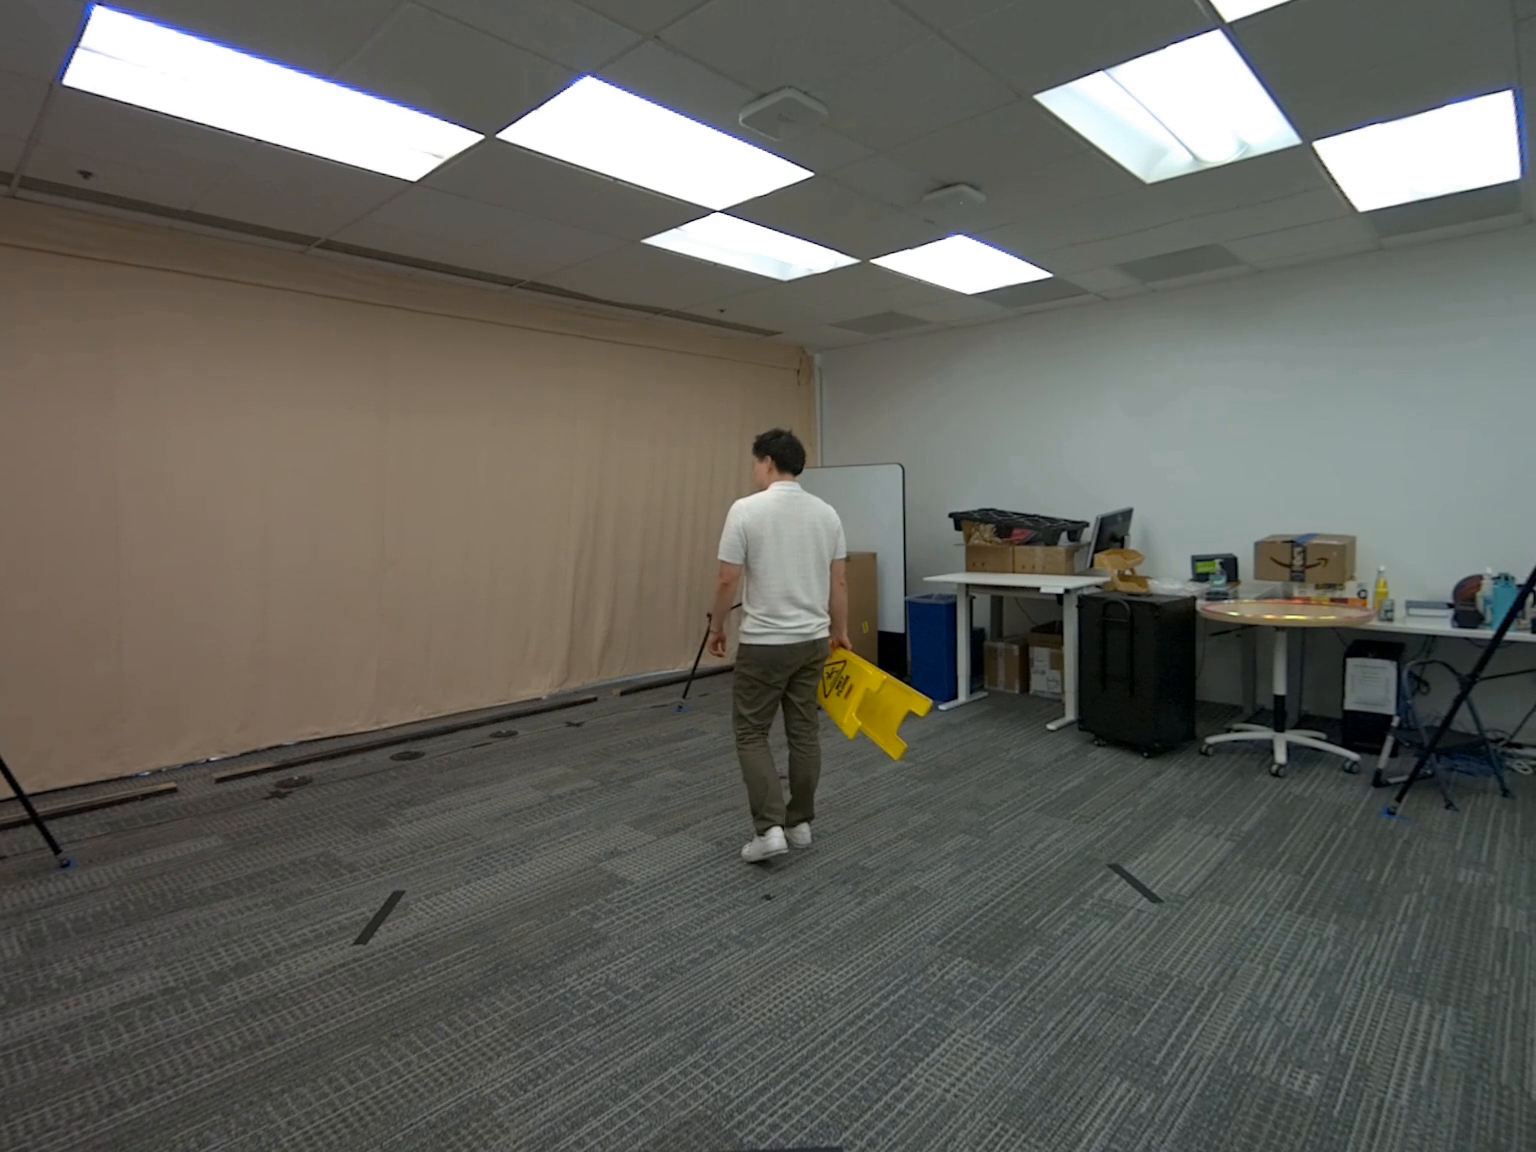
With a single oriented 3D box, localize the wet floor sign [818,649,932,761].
[{"bbox_3d":[0.326,0.451,3.538,0.280,0.282,0.669,27,4,-36],"label":"wet floor sign"}]
